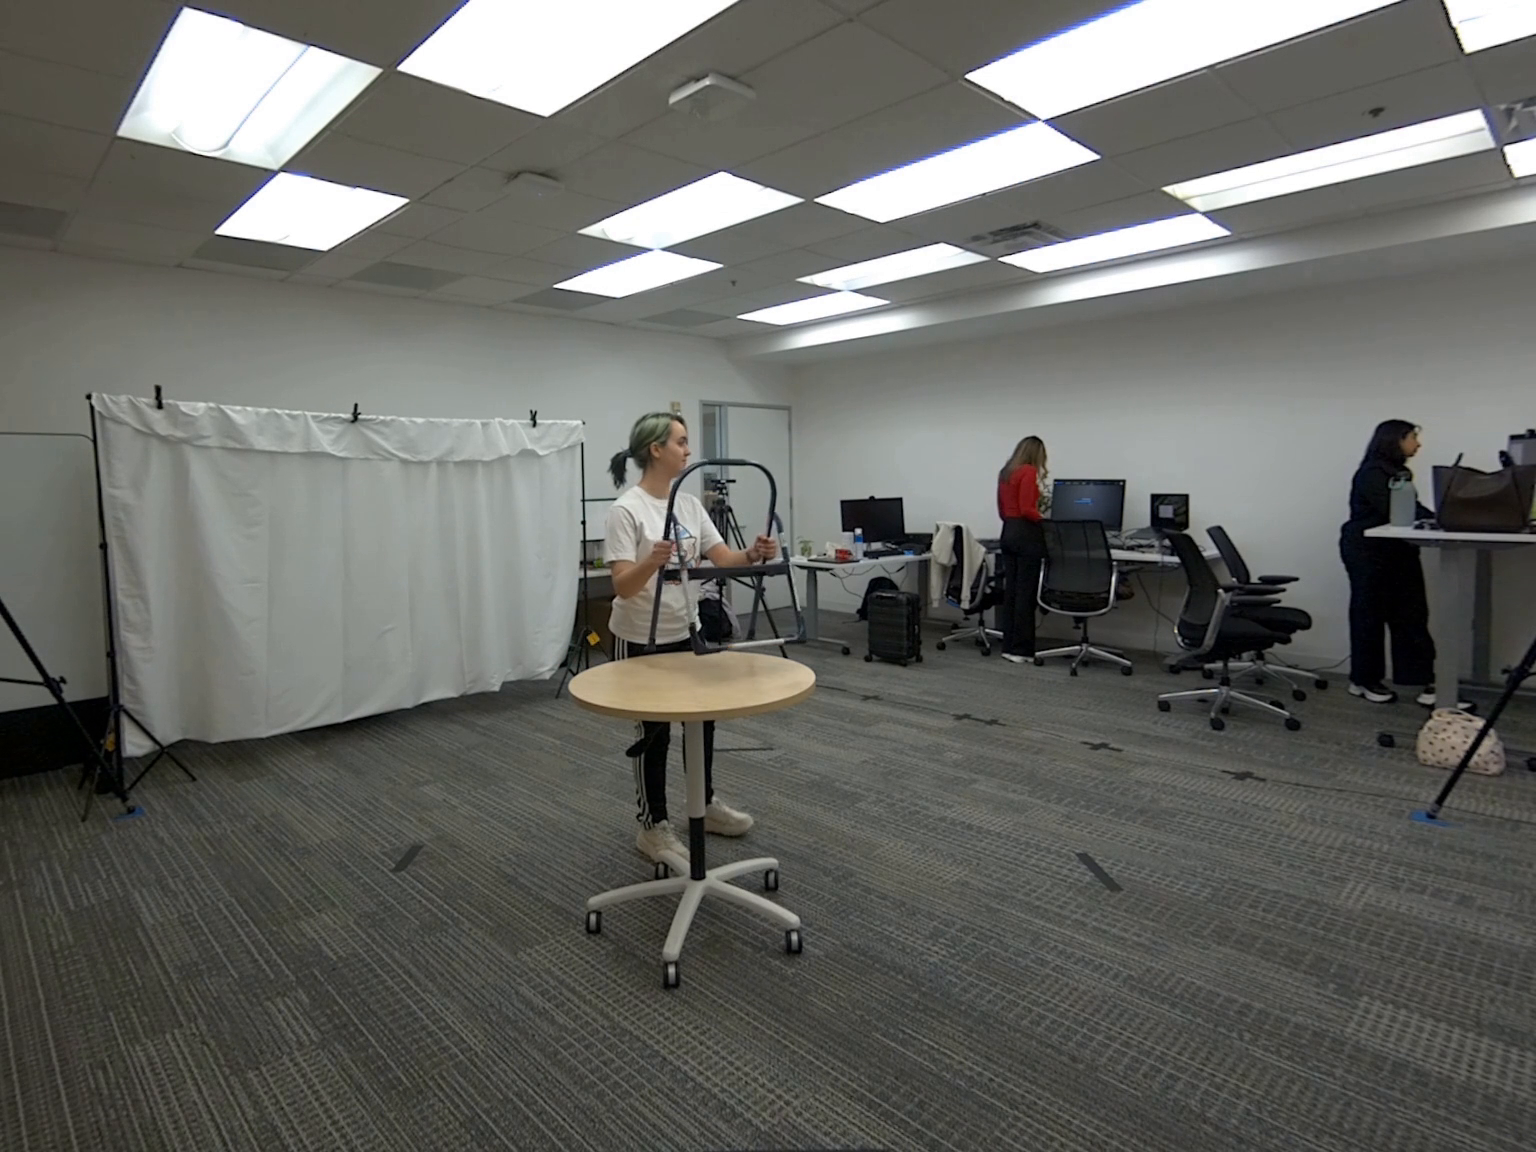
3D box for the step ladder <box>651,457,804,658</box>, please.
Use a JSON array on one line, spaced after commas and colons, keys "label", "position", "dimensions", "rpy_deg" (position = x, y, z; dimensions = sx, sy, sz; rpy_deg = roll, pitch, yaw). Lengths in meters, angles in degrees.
[{"label": "step ladder", "position": [-0.154, -0.069, 2.802], "dimensions": [0.420, 0.607, 0.358], "rpy_deg": [-3, -1, -33]}]
